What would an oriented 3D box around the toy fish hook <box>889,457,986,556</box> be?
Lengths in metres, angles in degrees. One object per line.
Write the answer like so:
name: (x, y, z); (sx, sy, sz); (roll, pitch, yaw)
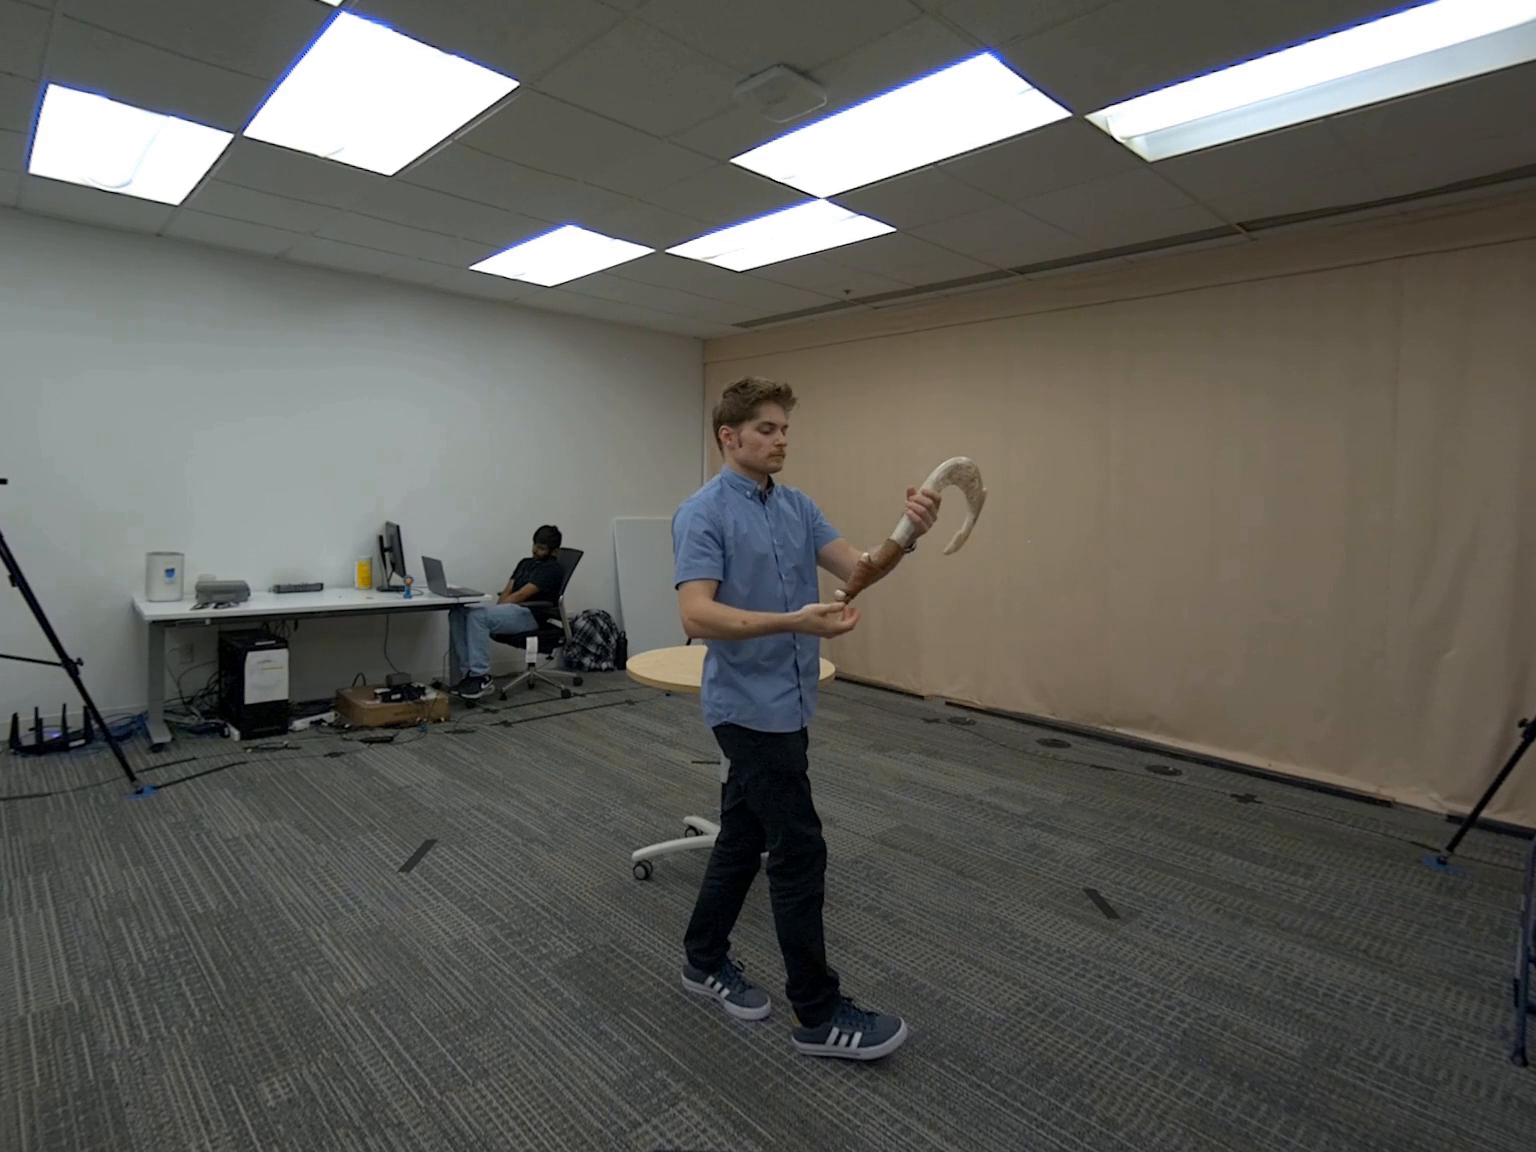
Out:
toy fish hook: (0.347, -0.077, 1.974); (0.506, 0.219, 0.049); (-46, 30, -18)
